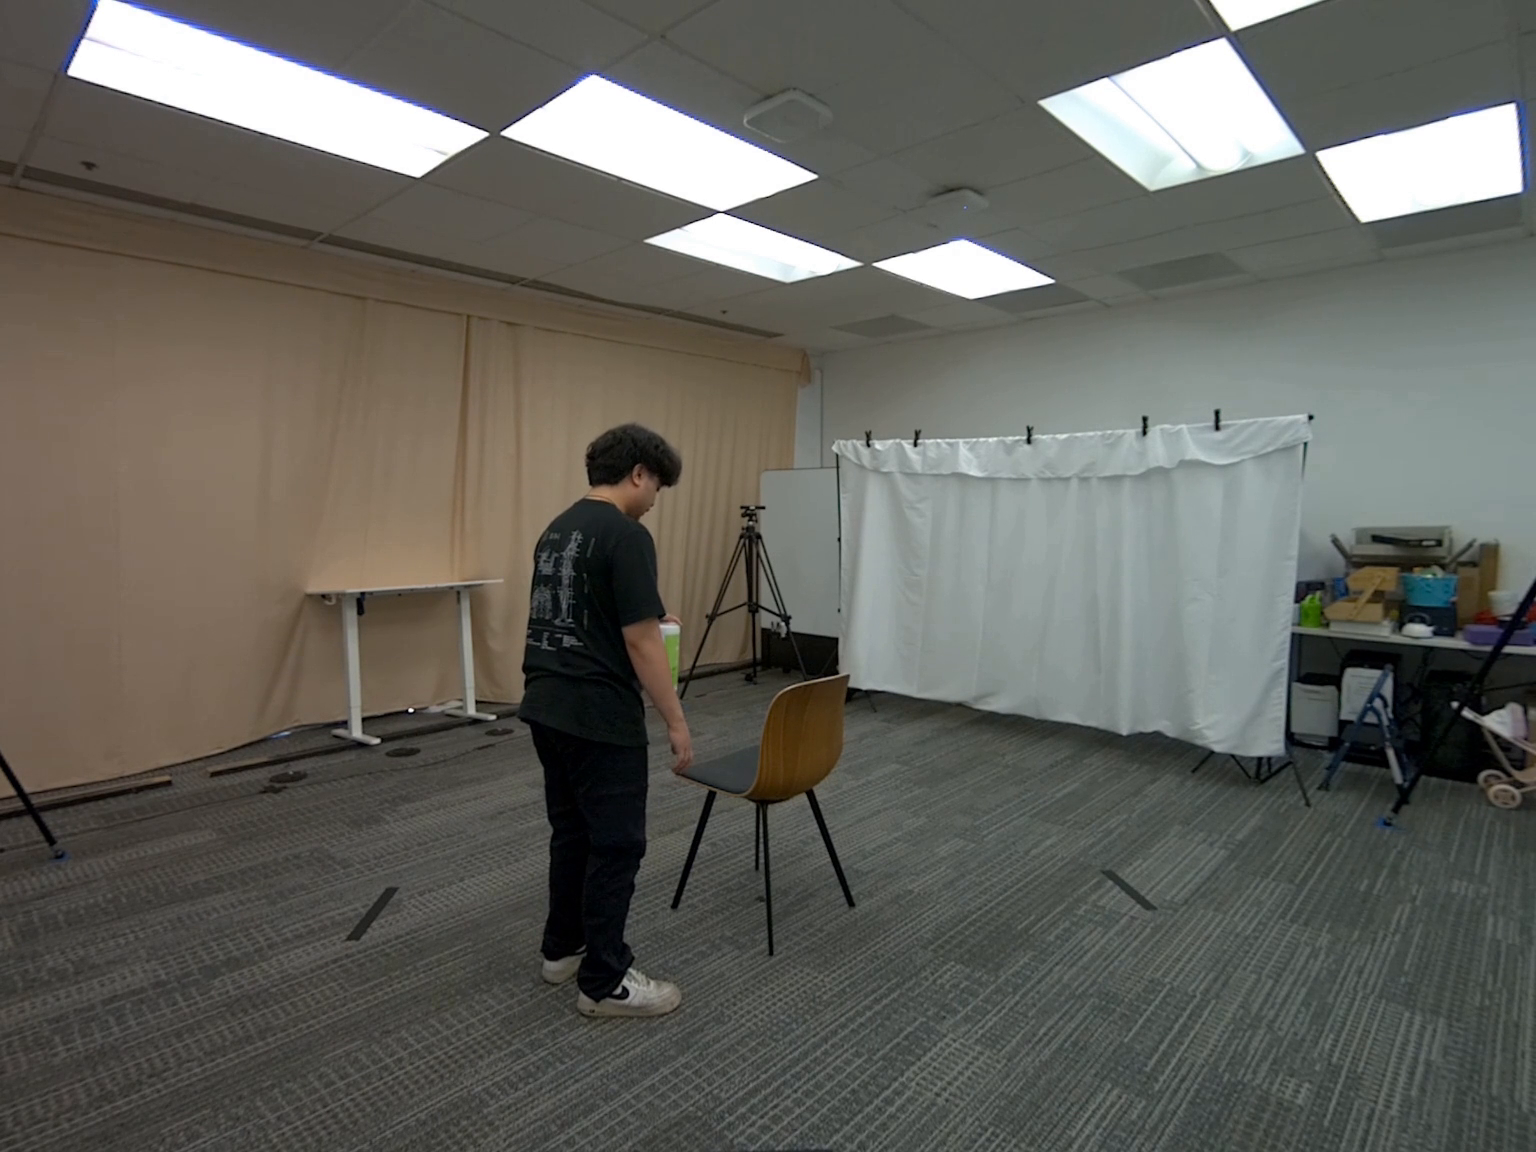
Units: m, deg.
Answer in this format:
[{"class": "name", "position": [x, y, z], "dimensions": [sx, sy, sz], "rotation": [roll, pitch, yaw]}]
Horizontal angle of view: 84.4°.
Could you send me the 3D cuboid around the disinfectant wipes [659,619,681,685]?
[{"class": "disinfectant wipes", "position": [-0.345, 0.268, 2.666], "dimensions": [0.117, 0.217, 0.118], "rotation": [2, 3, -2]}]
